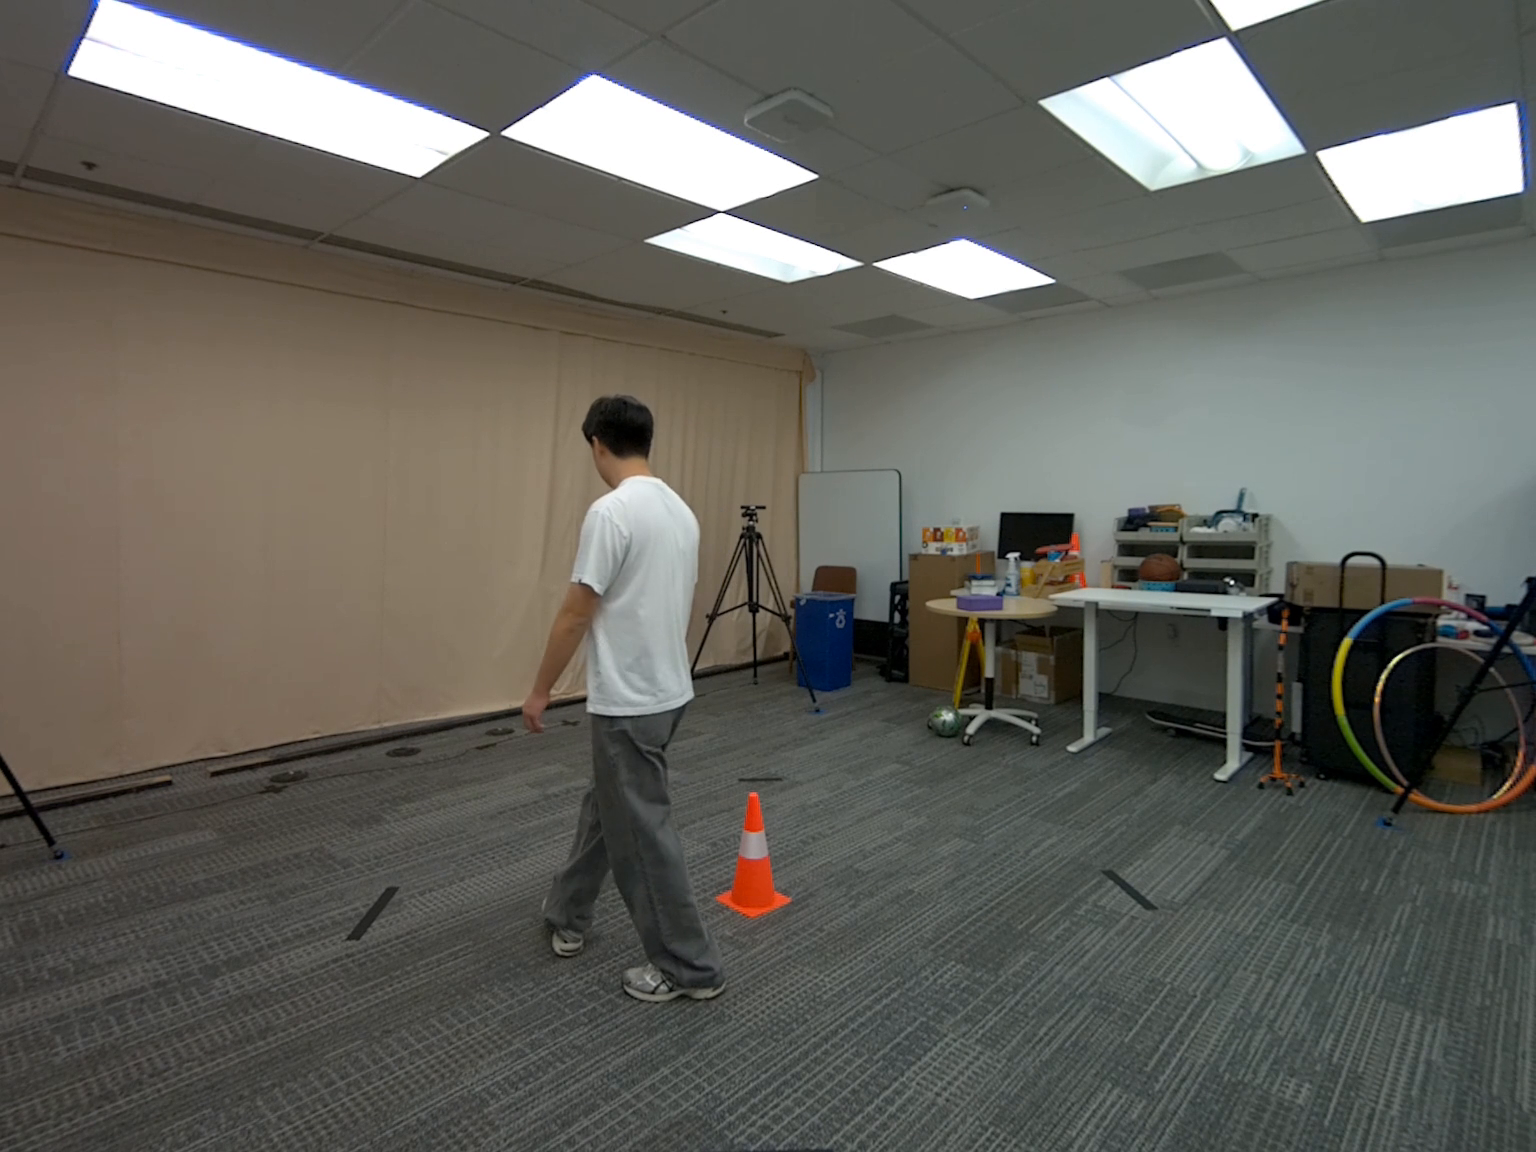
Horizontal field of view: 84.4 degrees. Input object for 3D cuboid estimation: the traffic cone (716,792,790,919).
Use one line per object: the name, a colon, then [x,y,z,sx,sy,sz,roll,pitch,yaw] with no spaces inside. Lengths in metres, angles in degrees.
traffic cone: [-0.039,0.961,2.966,0.210,0.383,0.198,5,5,44]
